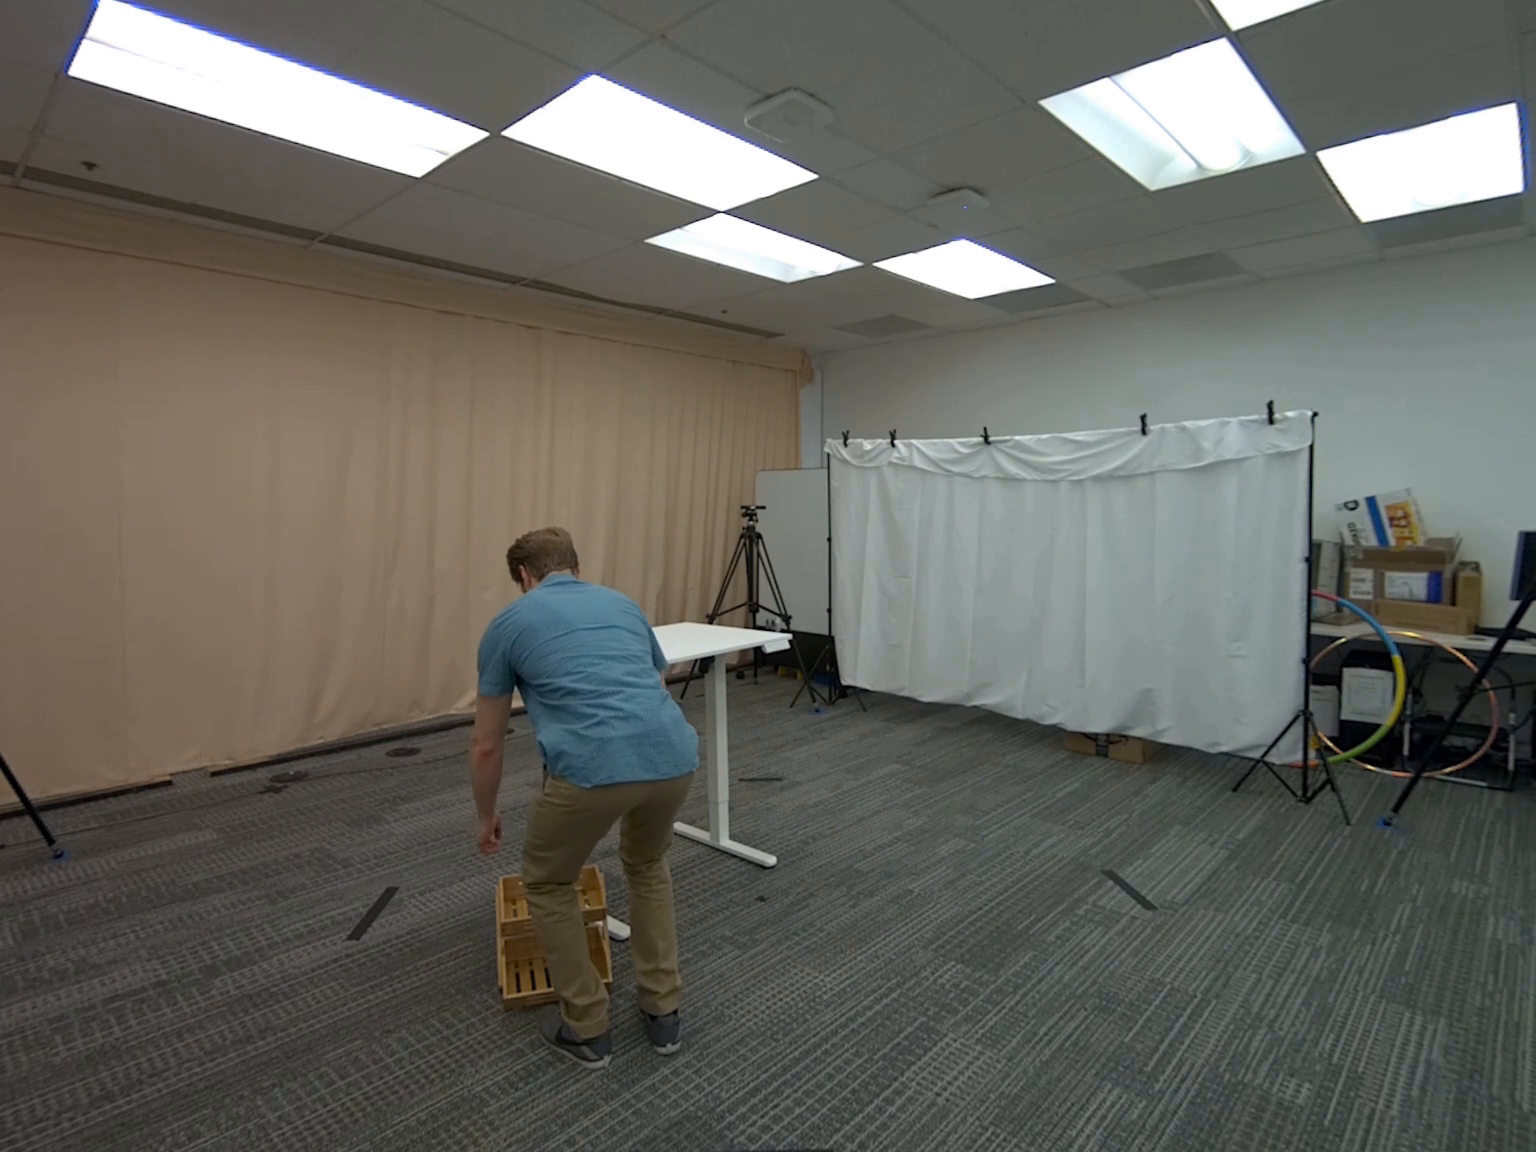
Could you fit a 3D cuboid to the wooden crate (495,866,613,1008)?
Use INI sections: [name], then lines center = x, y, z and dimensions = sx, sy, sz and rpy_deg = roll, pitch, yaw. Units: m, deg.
[wooden crate]
center = -0.632, 1.056, 2.479
dimensions = 0.319, 0.273, 0.308
rpy_deg = -2, 4, -18
